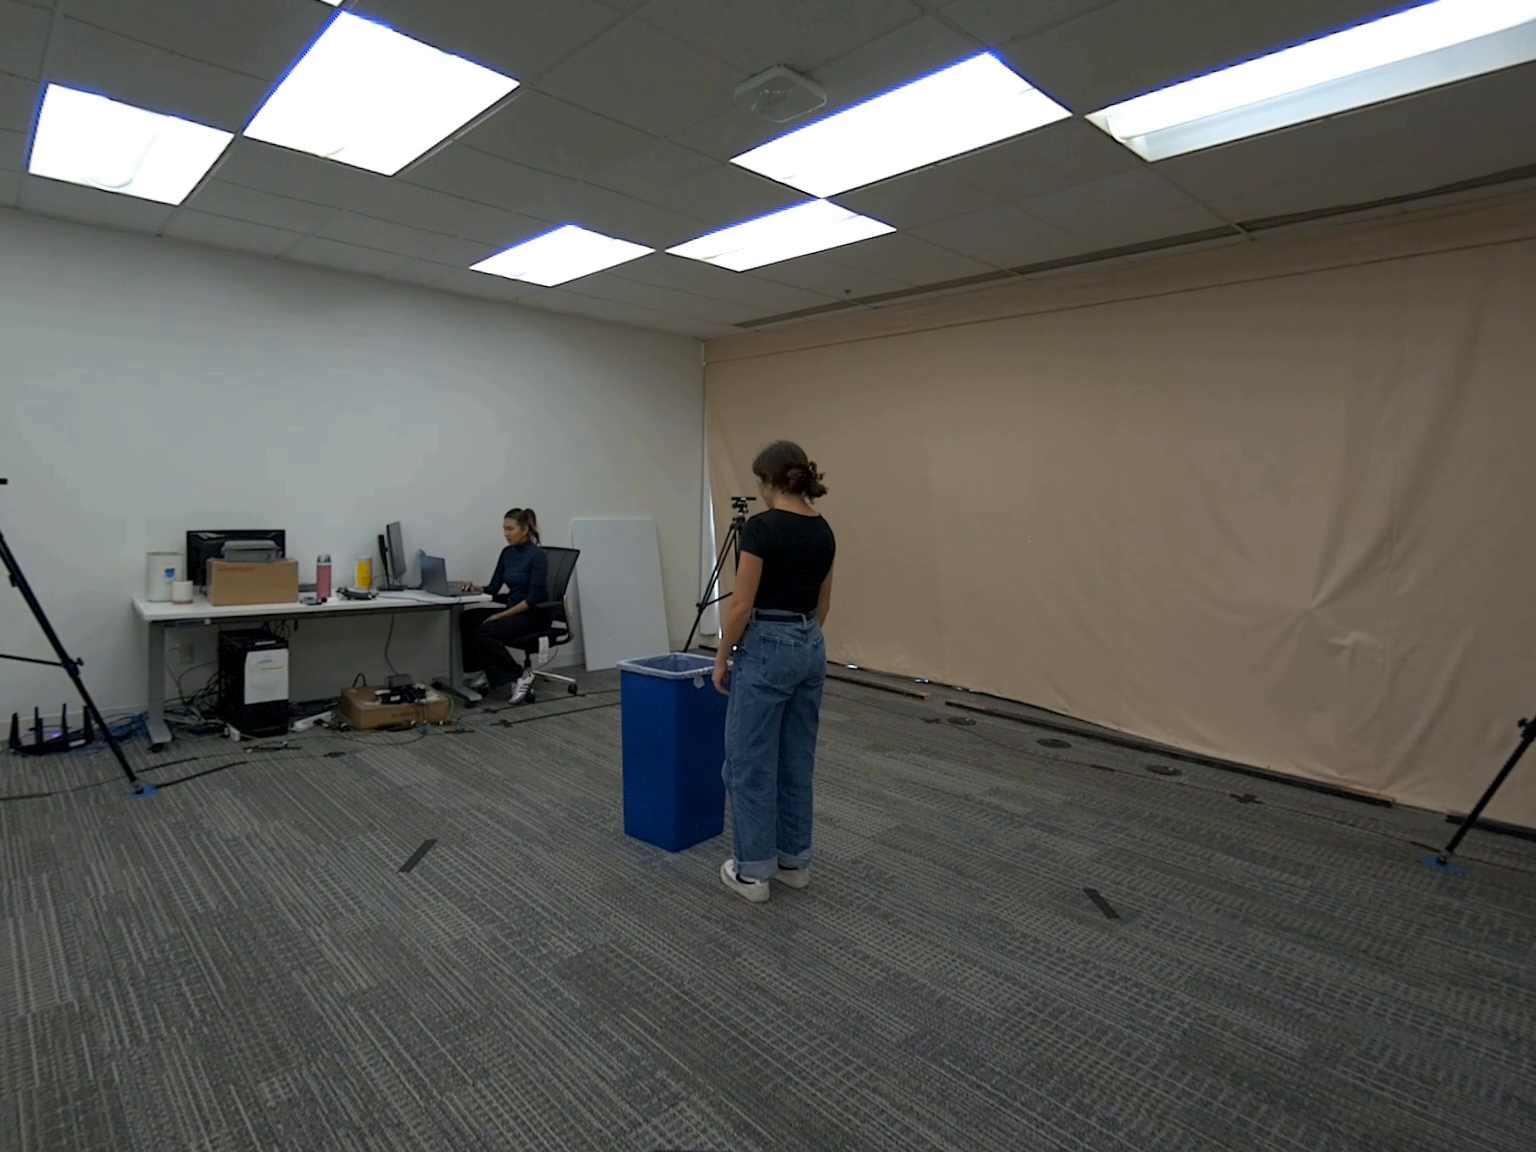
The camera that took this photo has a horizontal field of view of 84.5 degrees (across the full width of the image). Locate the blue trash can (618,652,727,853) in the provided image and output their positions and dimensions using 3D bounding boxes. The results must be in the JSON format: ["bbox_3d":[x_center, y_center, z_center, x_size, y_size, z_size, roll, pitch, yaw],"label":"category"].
[{"bbox_3d":[-0.398,0.711,3.486,0.383,0.712,0.369,4,4,39],"label":"blue trash can"}]
